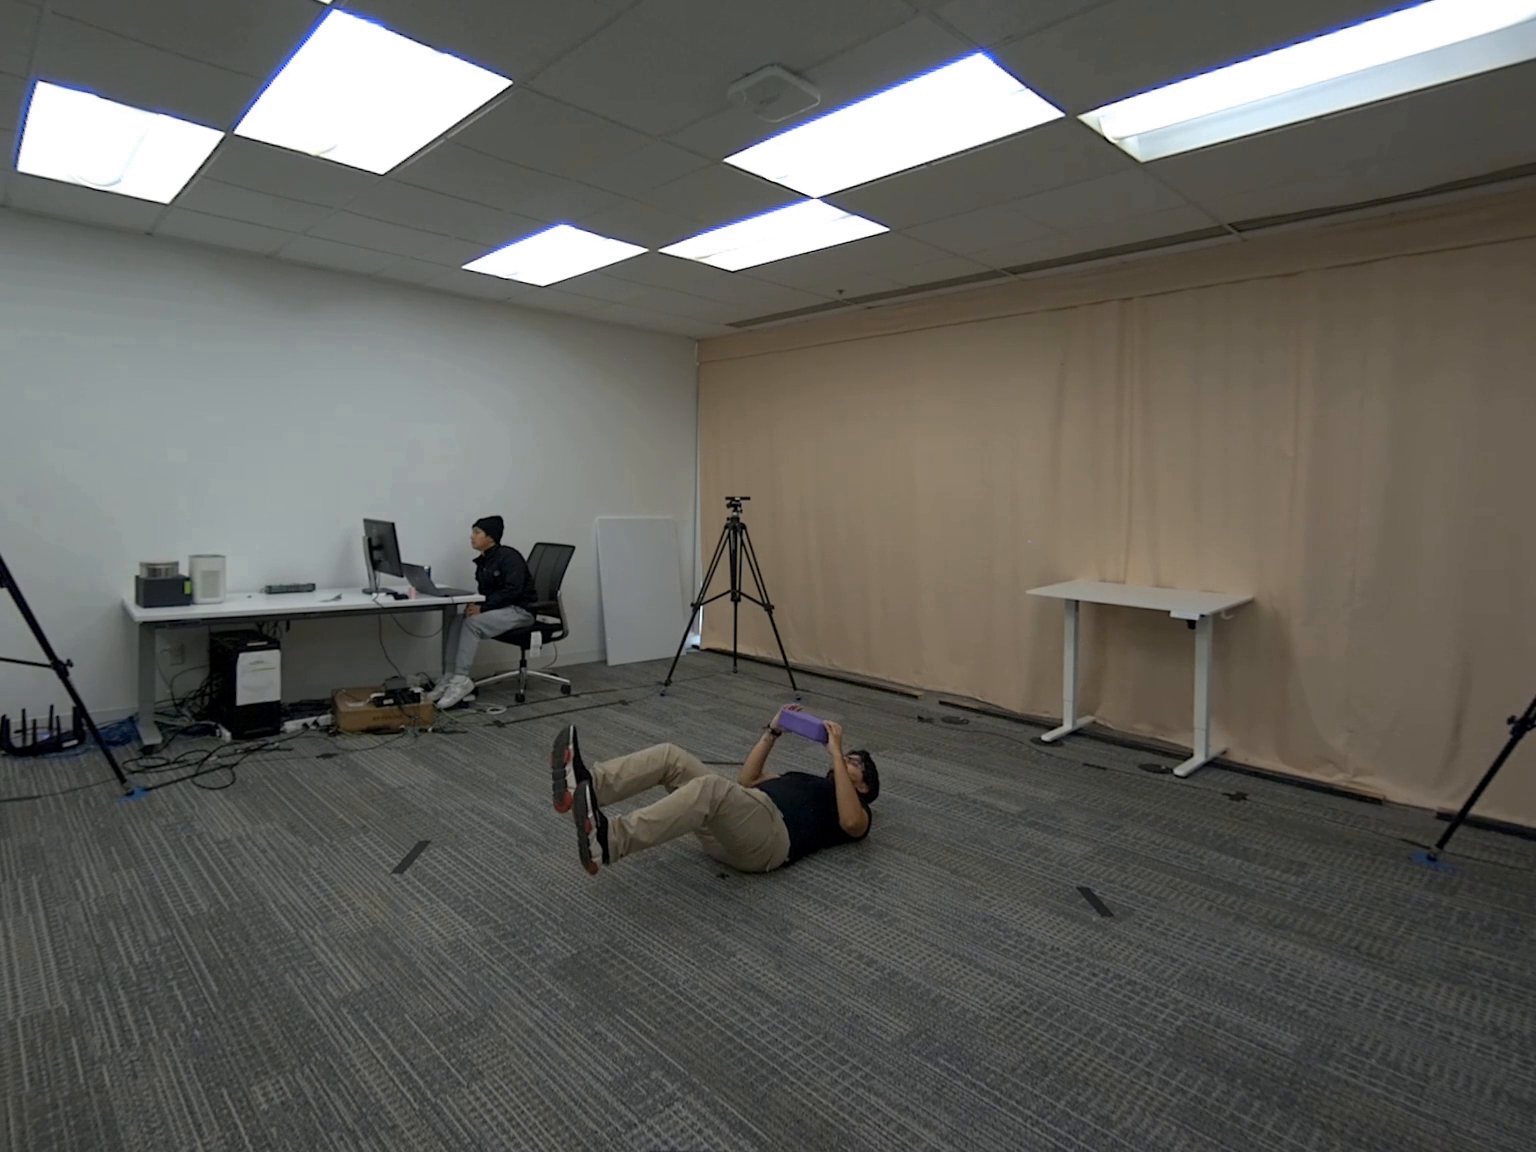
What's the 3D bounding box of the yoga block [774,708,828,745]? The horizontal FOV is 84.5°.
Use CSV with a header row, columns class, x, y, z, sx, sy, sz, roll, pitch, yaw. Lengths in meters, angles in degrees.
class,x,y,z,sx,sy,sz,roll,pitch,yaw
yoga block,0.163,0.628,3.484,0.144,0.076,0.236,19,-4,-43
